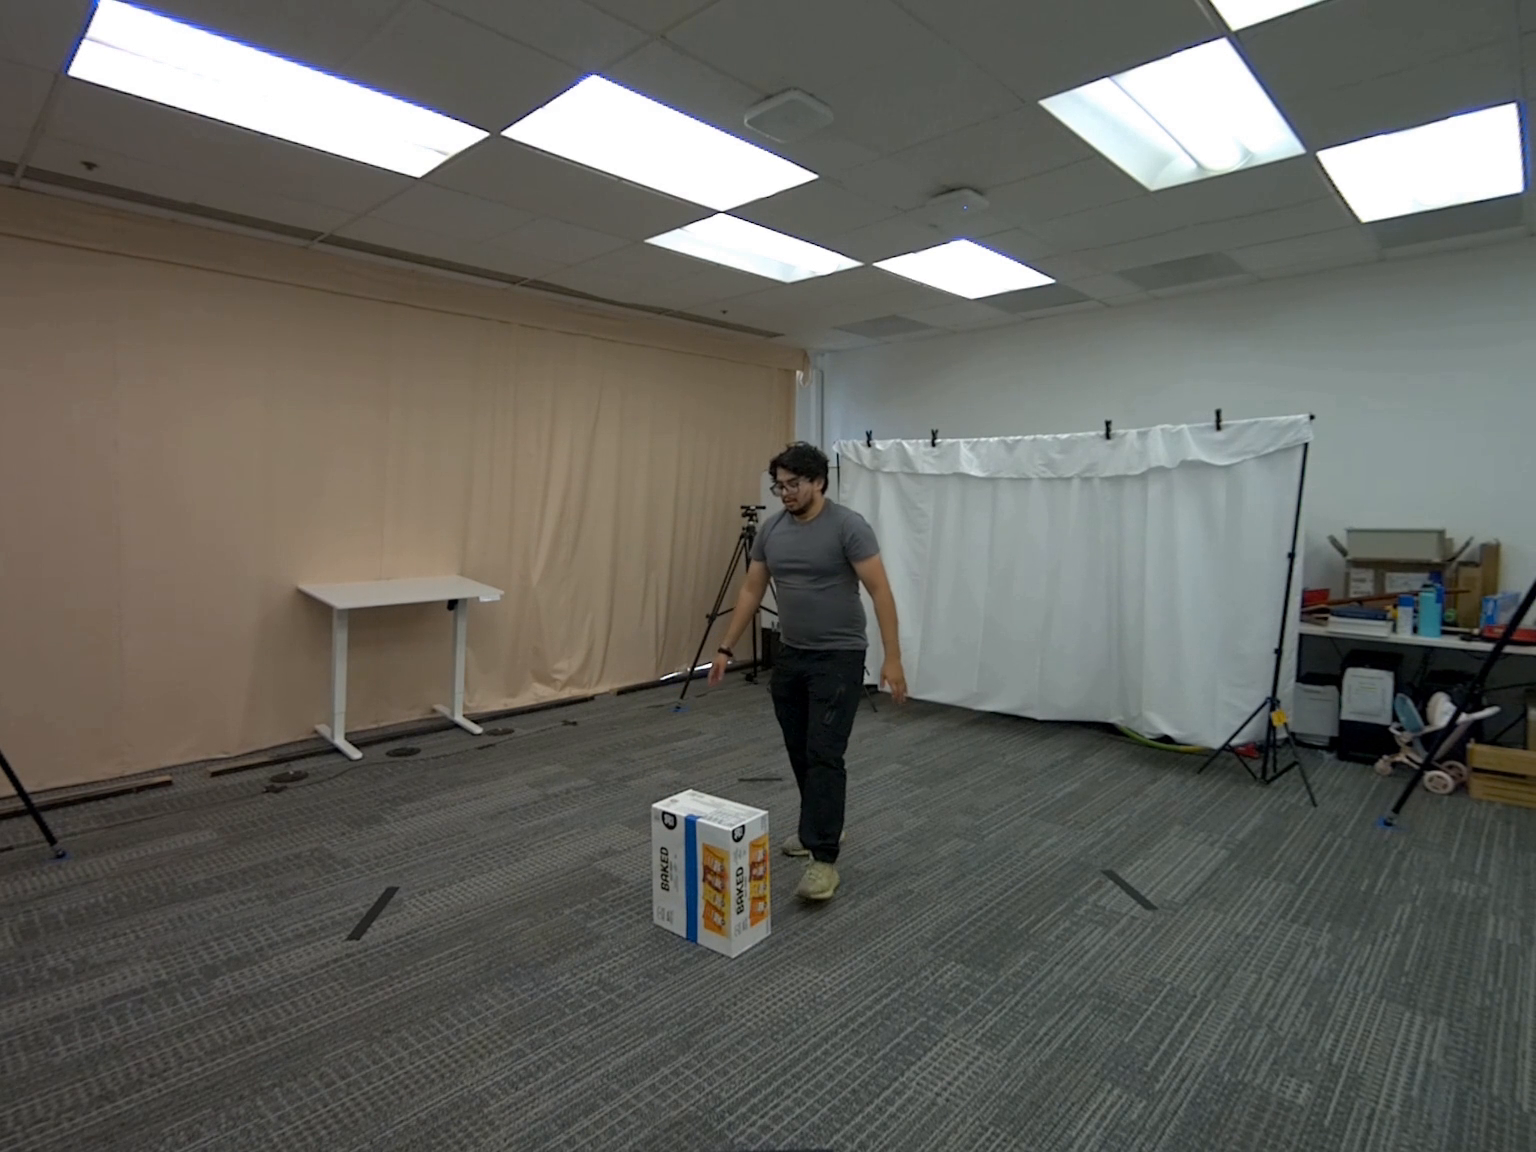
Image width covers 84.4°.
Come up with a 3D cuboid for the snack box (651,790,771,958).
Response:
[{"bbox_3d":[-0.185,0.960,2.757,0.351,0.404,0.199,2,4,39],"label":"snack box"}]
